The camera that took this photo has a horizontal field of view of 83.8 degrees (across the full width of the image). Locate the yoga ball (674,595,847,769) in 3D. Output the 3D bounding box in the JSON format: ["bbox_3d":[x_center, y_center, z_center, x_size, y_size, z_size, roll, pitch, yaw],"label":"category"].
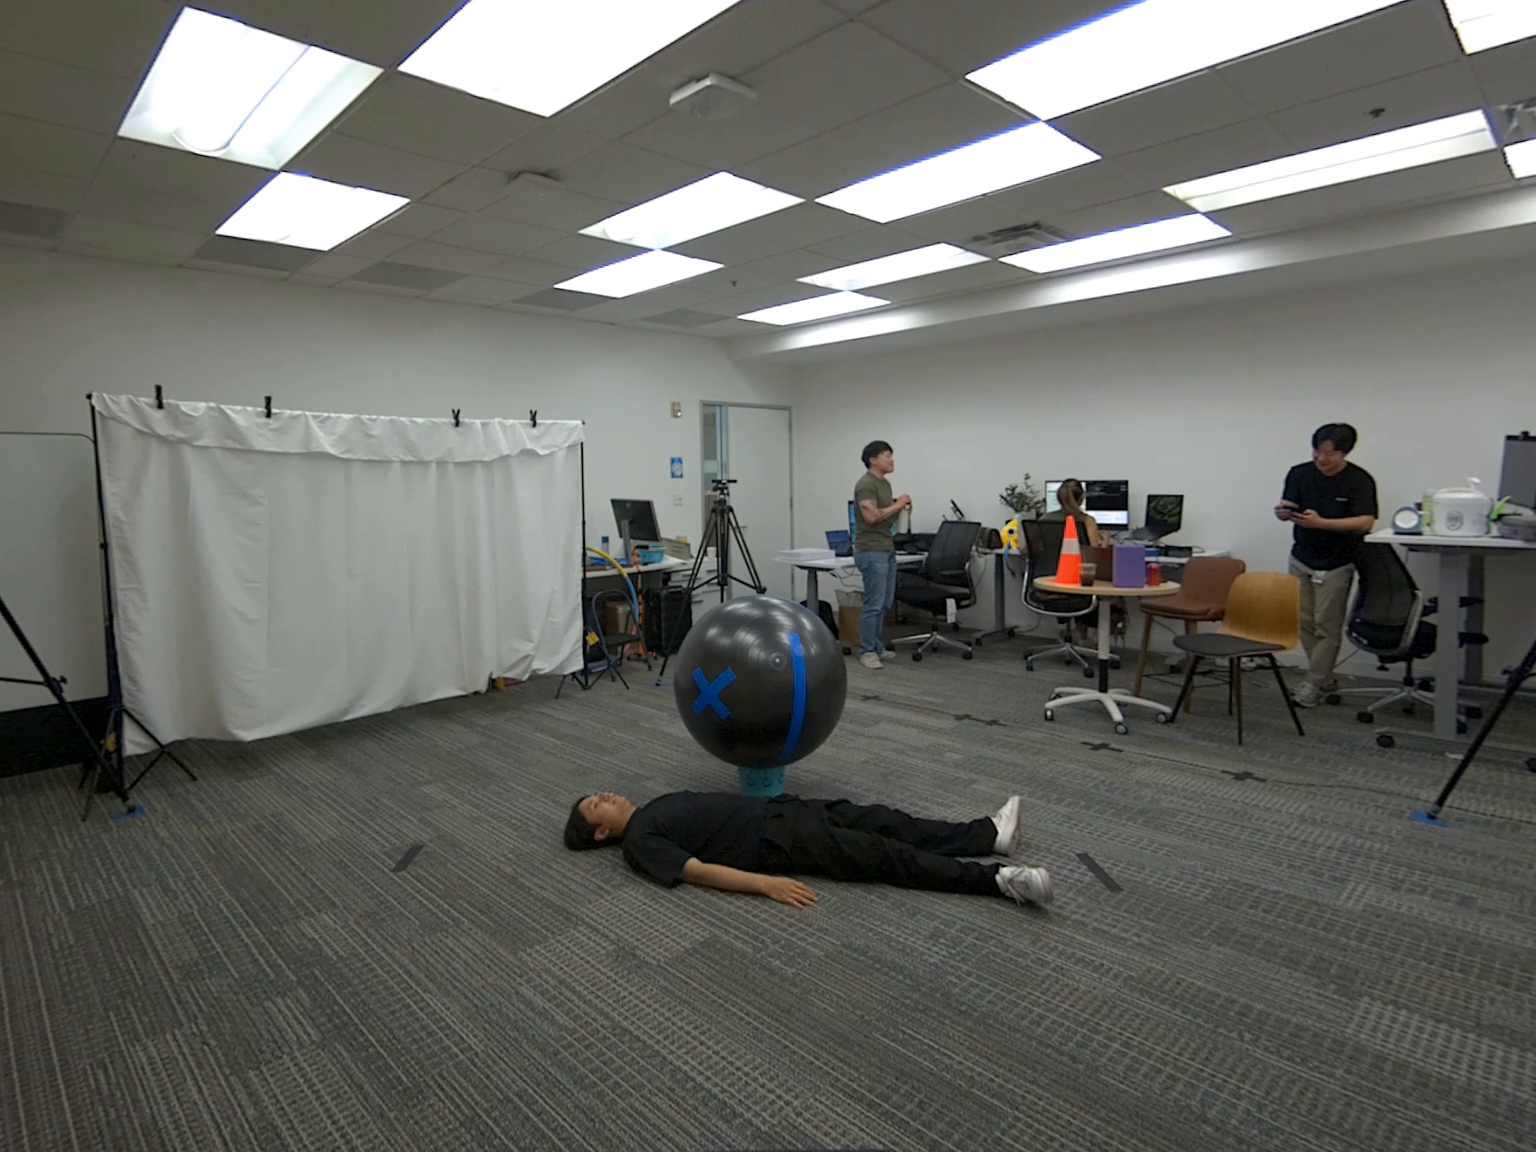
[{"bbox_3d":[-0.036,0.464,3.765,0.757,0.755,0.762,-1,5,-2],"label":"yoga ball"}]
